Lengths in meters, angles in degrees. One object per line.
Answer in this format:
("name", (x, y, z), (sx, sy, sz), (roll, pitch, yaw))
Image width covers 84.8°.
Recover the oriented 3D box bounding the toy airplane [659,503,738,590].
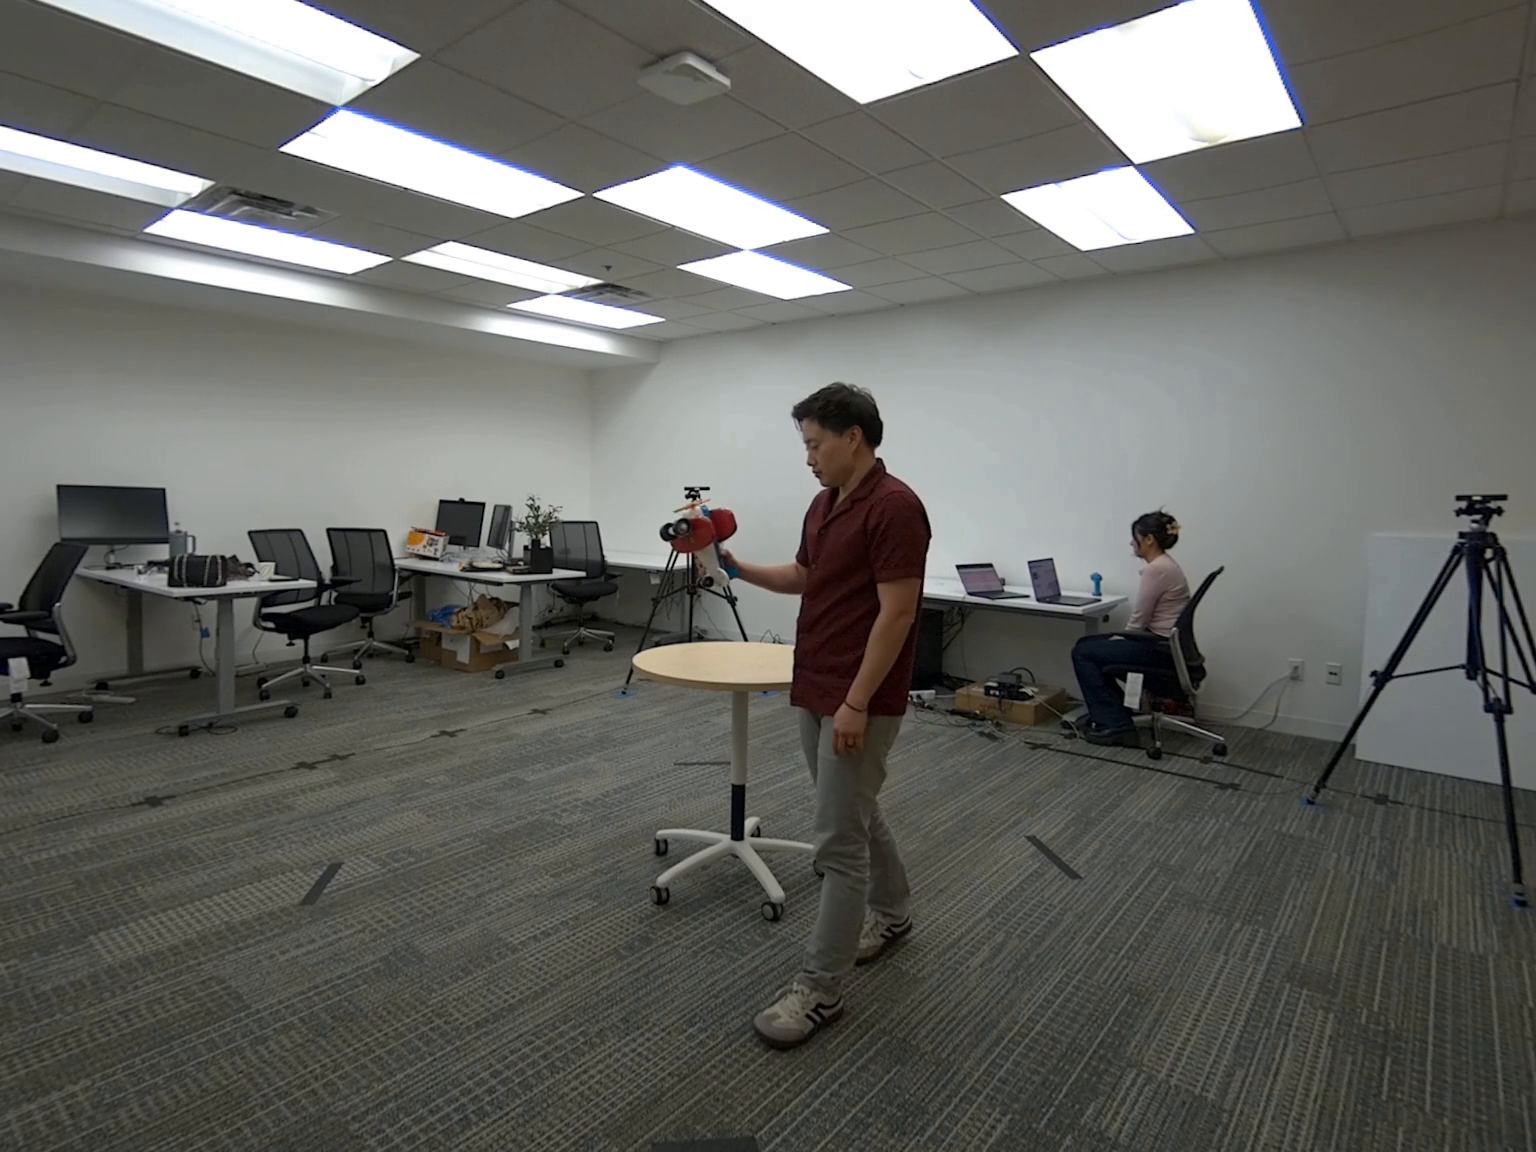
("toy airplane", (-0.212, -0.091, 2.499), (0.155, 0.251, 0.261), (-37, 38, -30))
